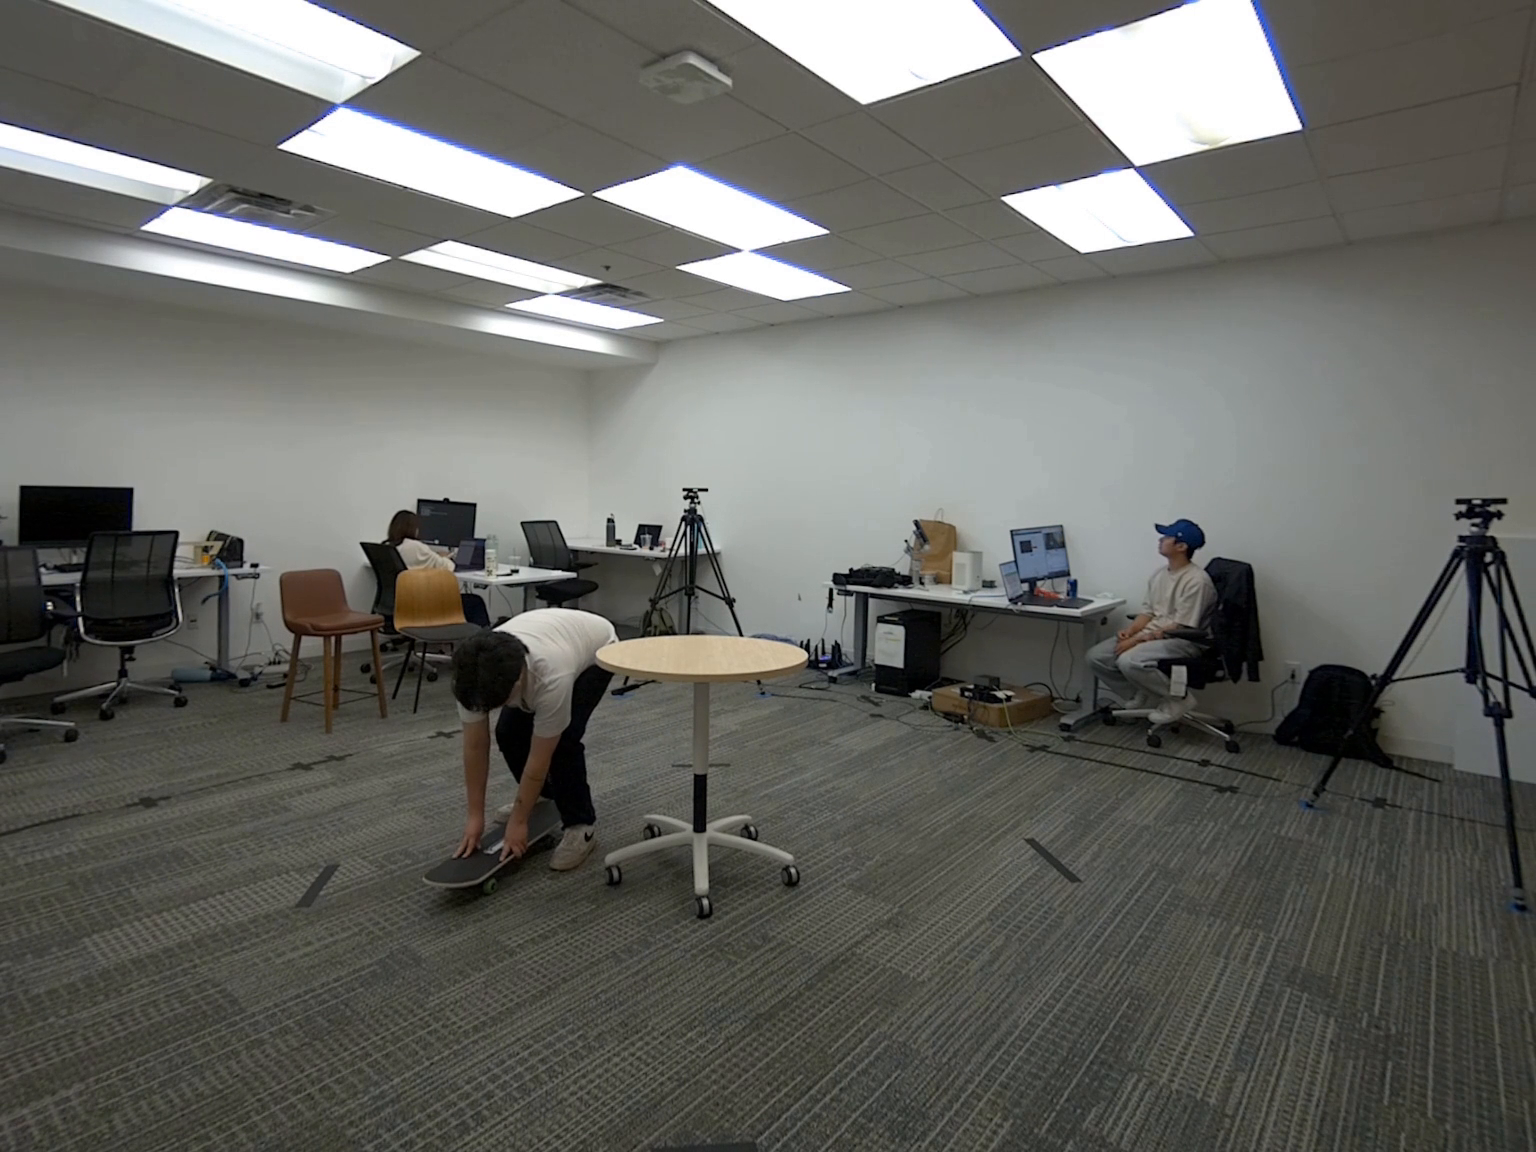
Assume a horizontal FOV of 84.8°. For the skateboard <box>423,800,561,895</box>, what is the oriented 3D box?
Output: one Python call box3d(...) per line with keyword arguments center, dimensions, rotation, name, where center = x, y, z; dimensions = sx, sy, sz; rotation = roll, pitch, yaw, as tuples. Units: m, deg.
box3d(center=(-0.973, 1.005, 3.111), dimensions=(0.197, 0.110, 0.773), rotation=(3, 6, 16), name="skateboard")
